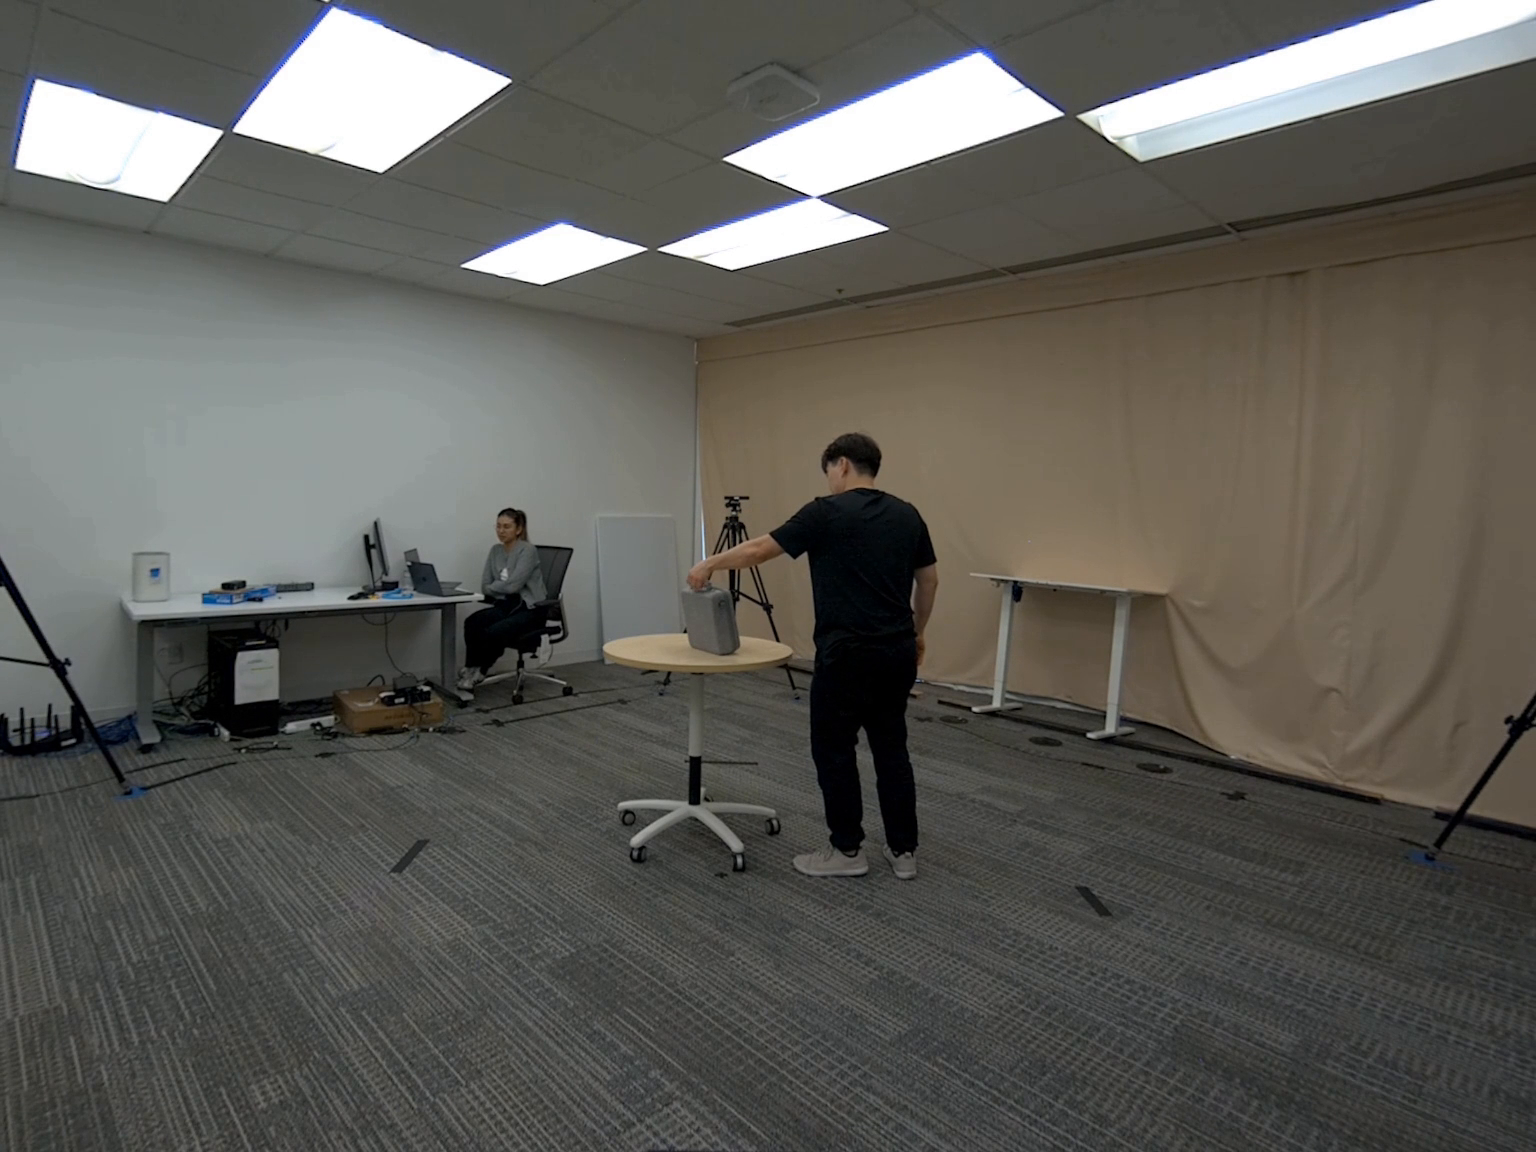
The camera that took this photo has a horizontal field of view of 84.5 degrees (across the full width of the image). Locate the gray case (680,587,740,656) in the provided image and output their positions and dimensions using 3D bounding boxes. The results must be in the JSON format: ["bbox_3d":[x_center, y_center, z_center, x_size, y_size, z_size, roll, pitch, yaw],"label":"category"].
[{"bbox_3d":[-0.230,0.165,3.335,0.103,0.259,0.263,-15,11,-32],"label":"gray case"}]
